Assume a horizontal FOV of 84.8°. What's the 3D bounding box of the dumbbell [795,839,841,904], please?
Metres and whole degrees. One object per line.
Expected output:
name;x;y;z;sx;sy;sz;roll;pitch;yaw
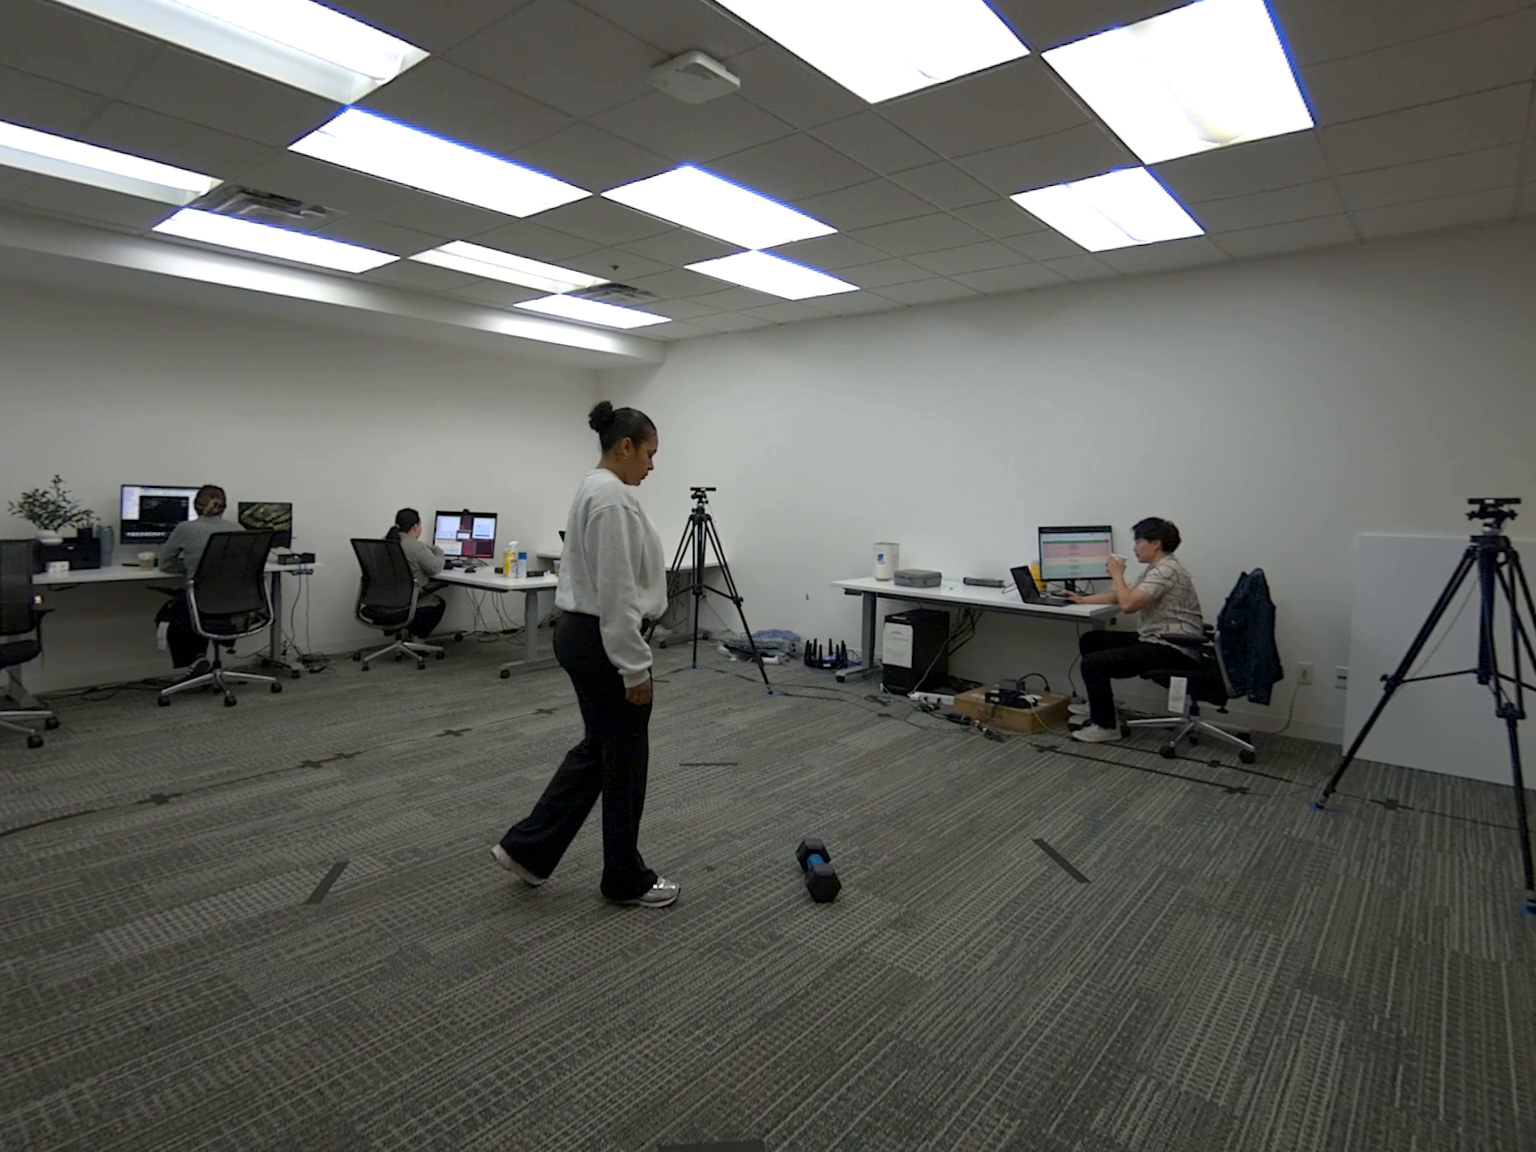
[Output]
dumbbell;0.168;1.034;3.001;0.108;0.122;0.296;-29;8;-3
